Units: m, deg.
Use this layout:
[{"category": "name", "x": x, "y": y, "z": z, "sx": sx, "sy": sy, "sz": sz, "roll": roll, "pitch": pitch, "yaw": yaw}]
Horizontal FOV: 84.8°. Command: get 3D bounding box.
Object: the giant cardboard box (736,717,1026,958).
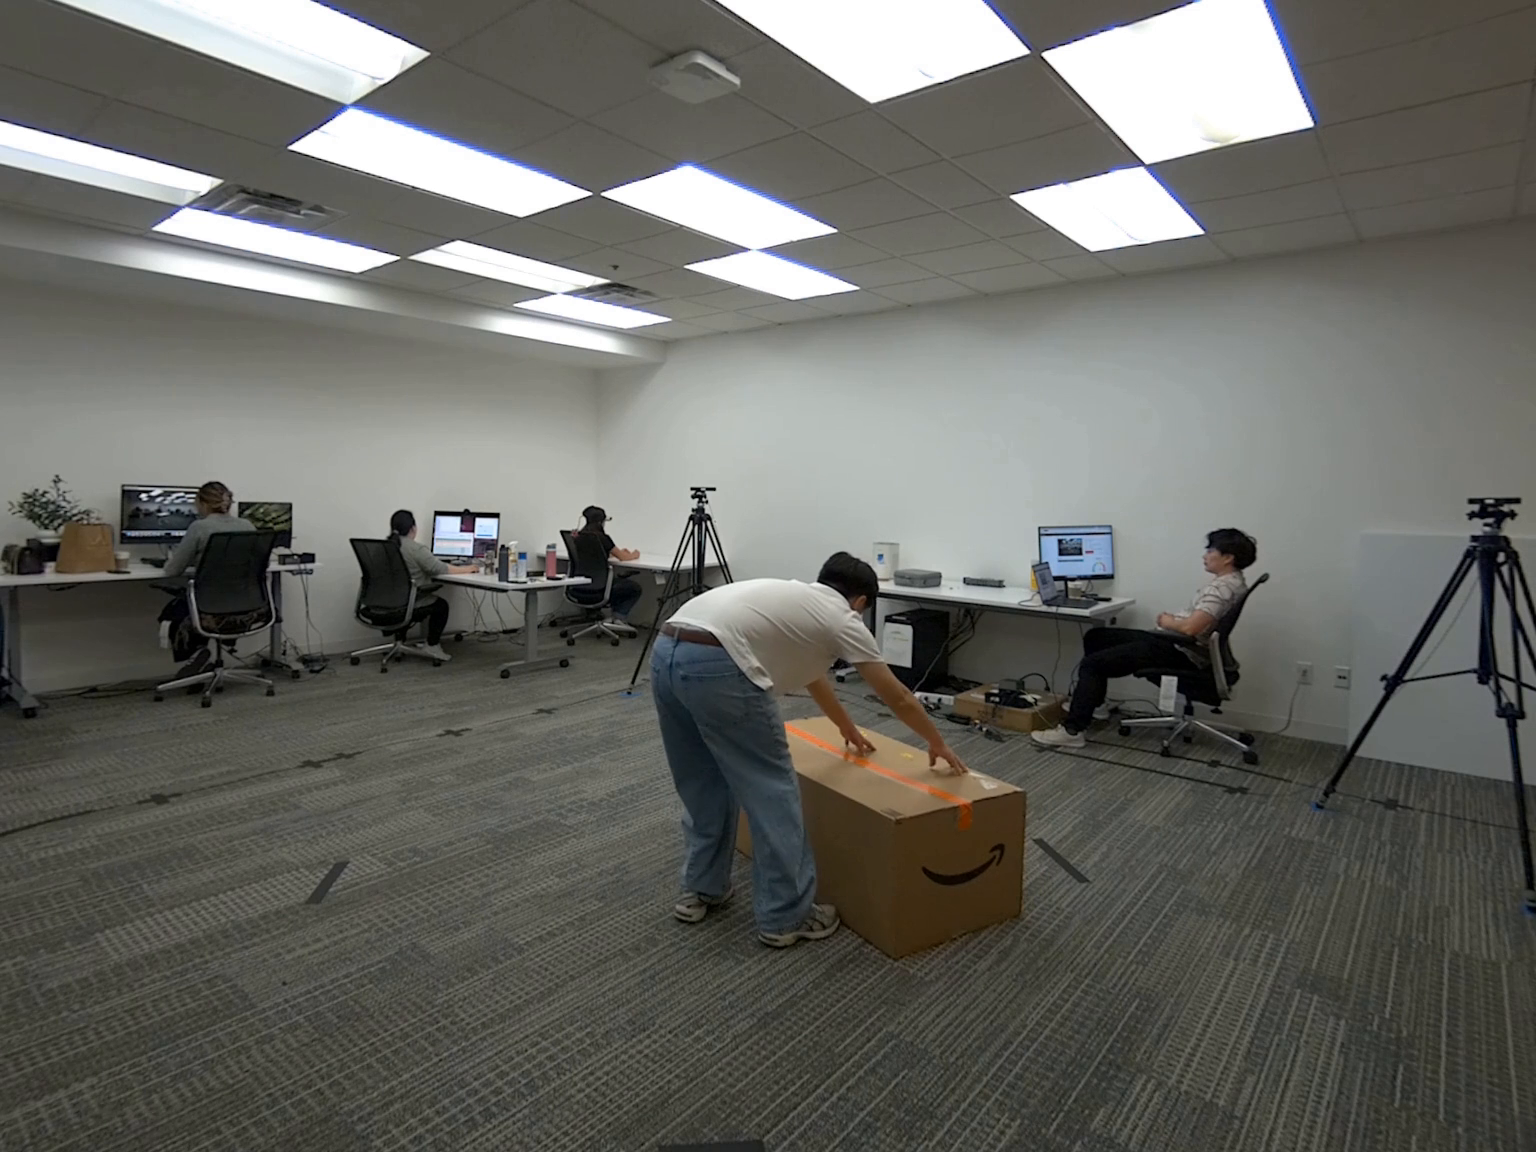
[{"category": "giant cardboard box", "x": 0.319, "y": 0.864, "z": 3.095, "sx": 0.561, "sy": 0.425, "sz": 1.059, "roll": -1, "pitch": 6, "yaw": -33}]
